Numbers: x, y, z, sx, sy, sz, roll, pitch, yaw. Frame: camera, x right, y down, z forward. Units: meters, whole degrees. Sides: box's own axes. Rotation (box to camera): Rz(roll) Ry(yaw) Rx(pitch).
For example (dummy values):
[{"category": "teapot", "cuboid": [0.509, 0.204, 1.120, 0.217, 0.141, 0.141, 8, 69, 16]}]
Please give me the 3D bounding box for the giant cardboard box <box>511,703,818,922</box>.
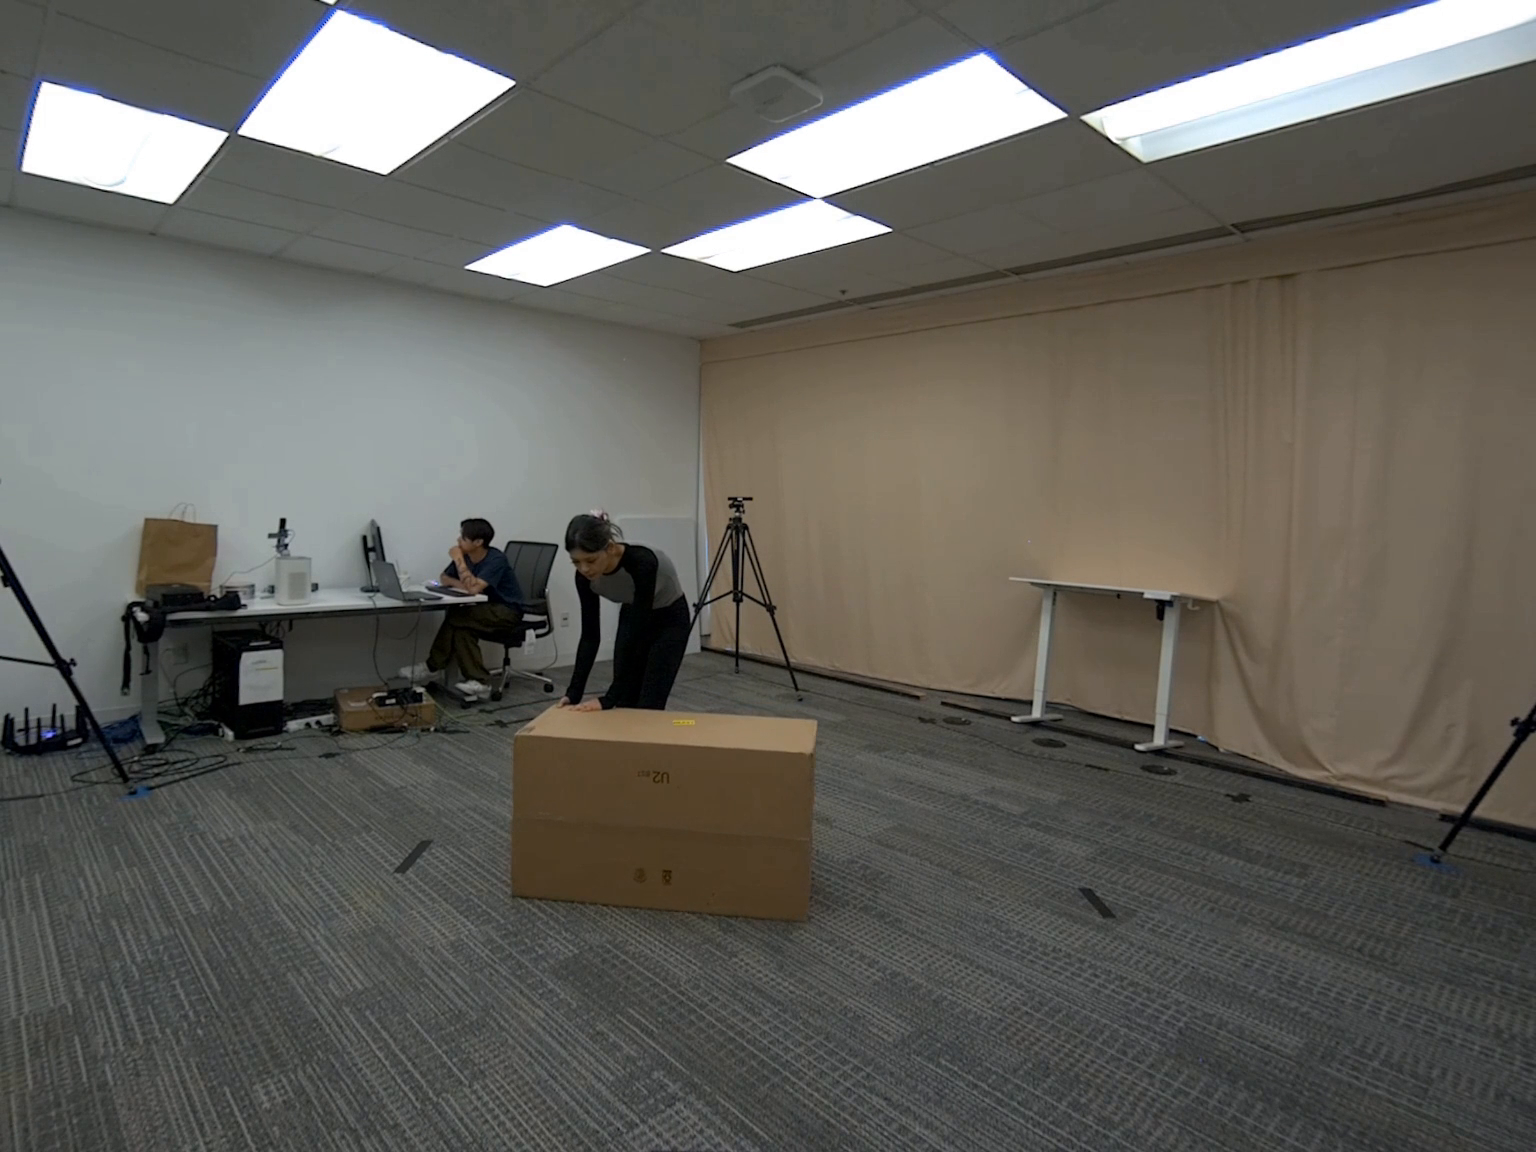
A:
[{"category": "giant cardboard box", "cuboid": [-0.351, 0.822, 3.018, 1.032, 0.583, 0.445, 2, 3, 6]}]
